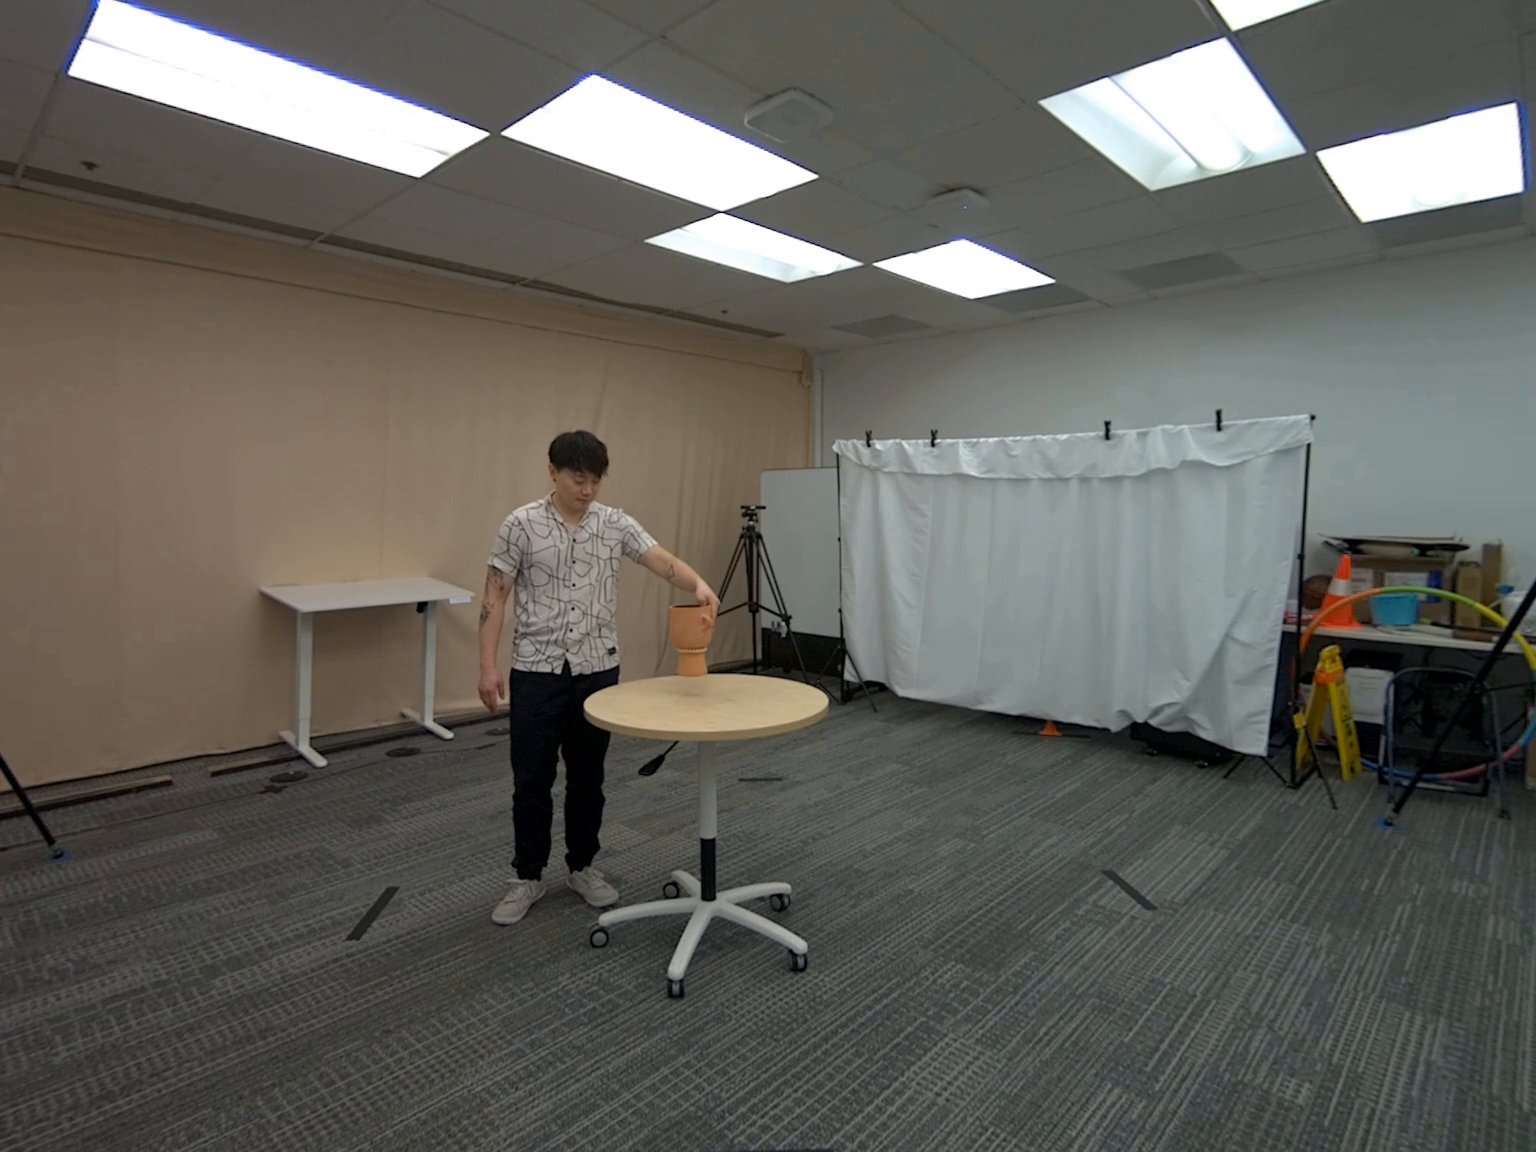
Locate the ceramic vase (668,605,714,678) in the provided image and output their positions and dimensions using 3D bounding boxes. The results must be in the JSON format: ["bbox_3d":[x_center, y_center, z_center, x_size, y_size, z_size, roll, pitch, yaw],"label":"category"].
[{"bbox_3d":[-0.244,0.206,2.692,0.134,0.219,0.159,-1,1,-5],"label":"ceramic vase"}]
